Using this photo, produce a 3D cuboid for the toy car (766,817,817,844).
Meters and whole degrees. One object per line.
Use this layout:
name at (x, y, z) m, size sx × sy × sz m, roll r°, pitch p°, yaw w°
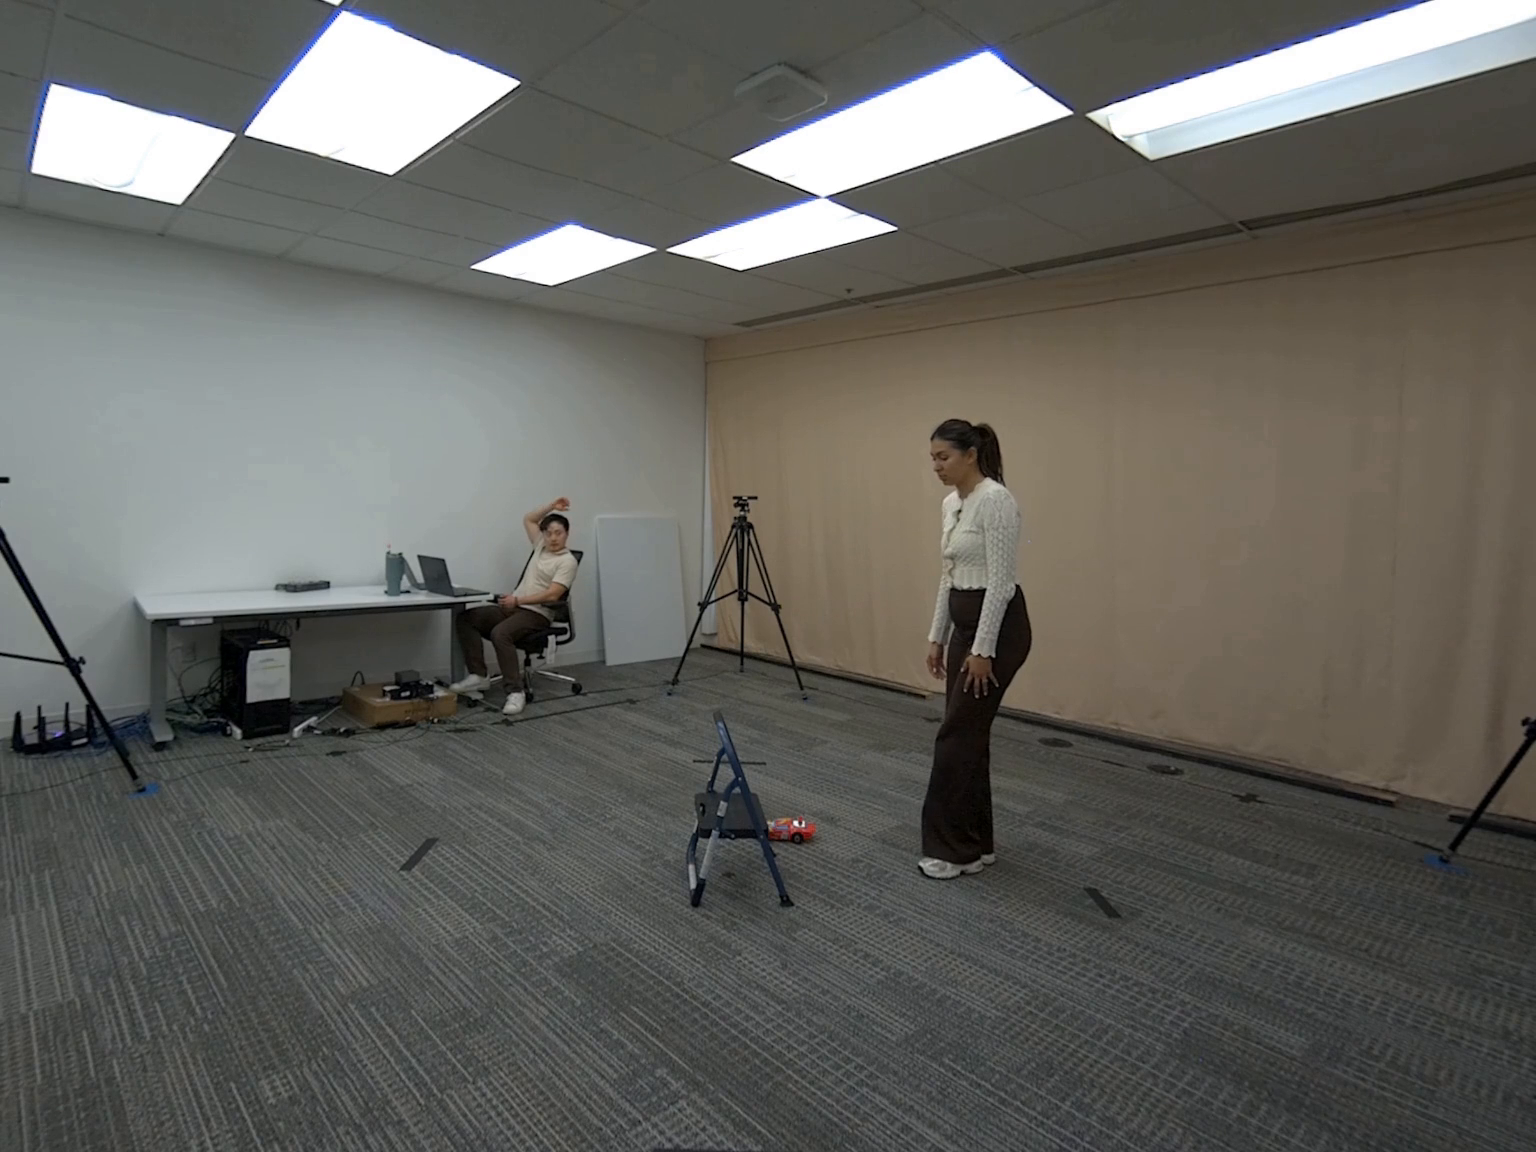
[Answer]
toy car at (0.068, 1.044, 3.460) m, size 0.255 × 0.083 × 0.130 m, roll -10°, pitch 4°, yaw 4°
